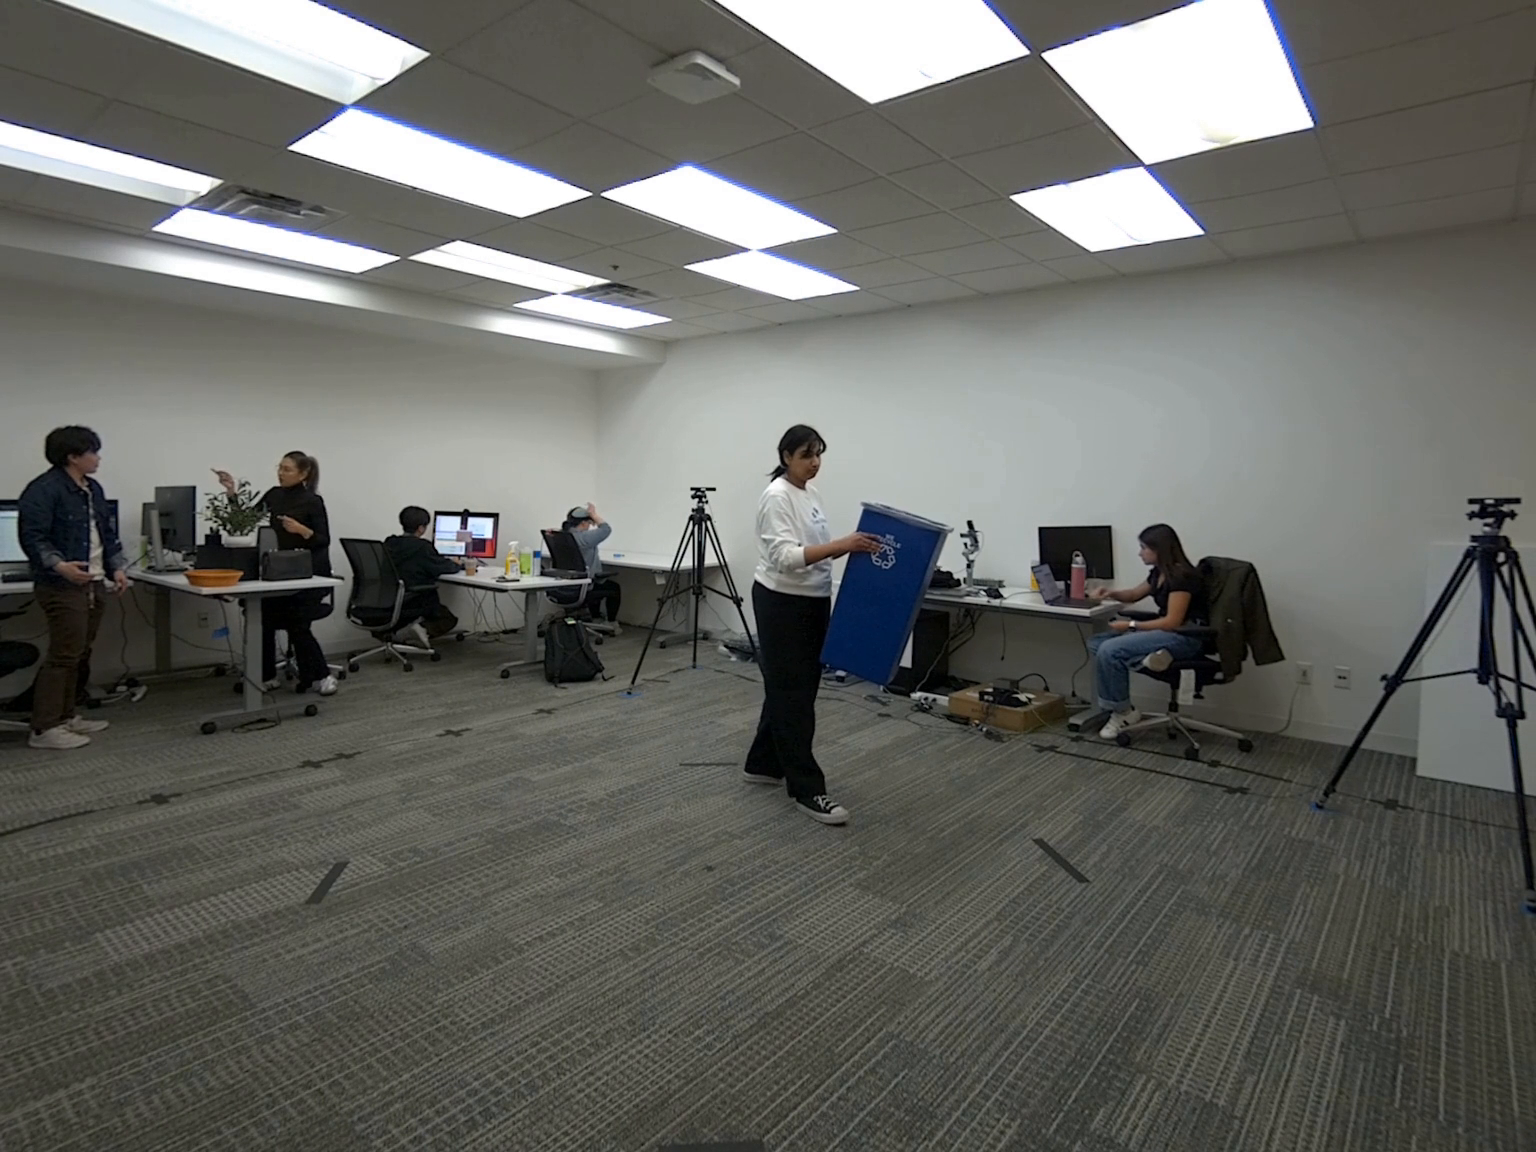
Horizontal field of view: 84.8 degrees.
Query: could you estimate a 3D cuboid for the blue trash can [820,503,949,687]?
[{"bbox_3d":[0.501,0.065,3.693,0.383,0.710,0.370,18,8,19],"label":"blue trash can"}]
